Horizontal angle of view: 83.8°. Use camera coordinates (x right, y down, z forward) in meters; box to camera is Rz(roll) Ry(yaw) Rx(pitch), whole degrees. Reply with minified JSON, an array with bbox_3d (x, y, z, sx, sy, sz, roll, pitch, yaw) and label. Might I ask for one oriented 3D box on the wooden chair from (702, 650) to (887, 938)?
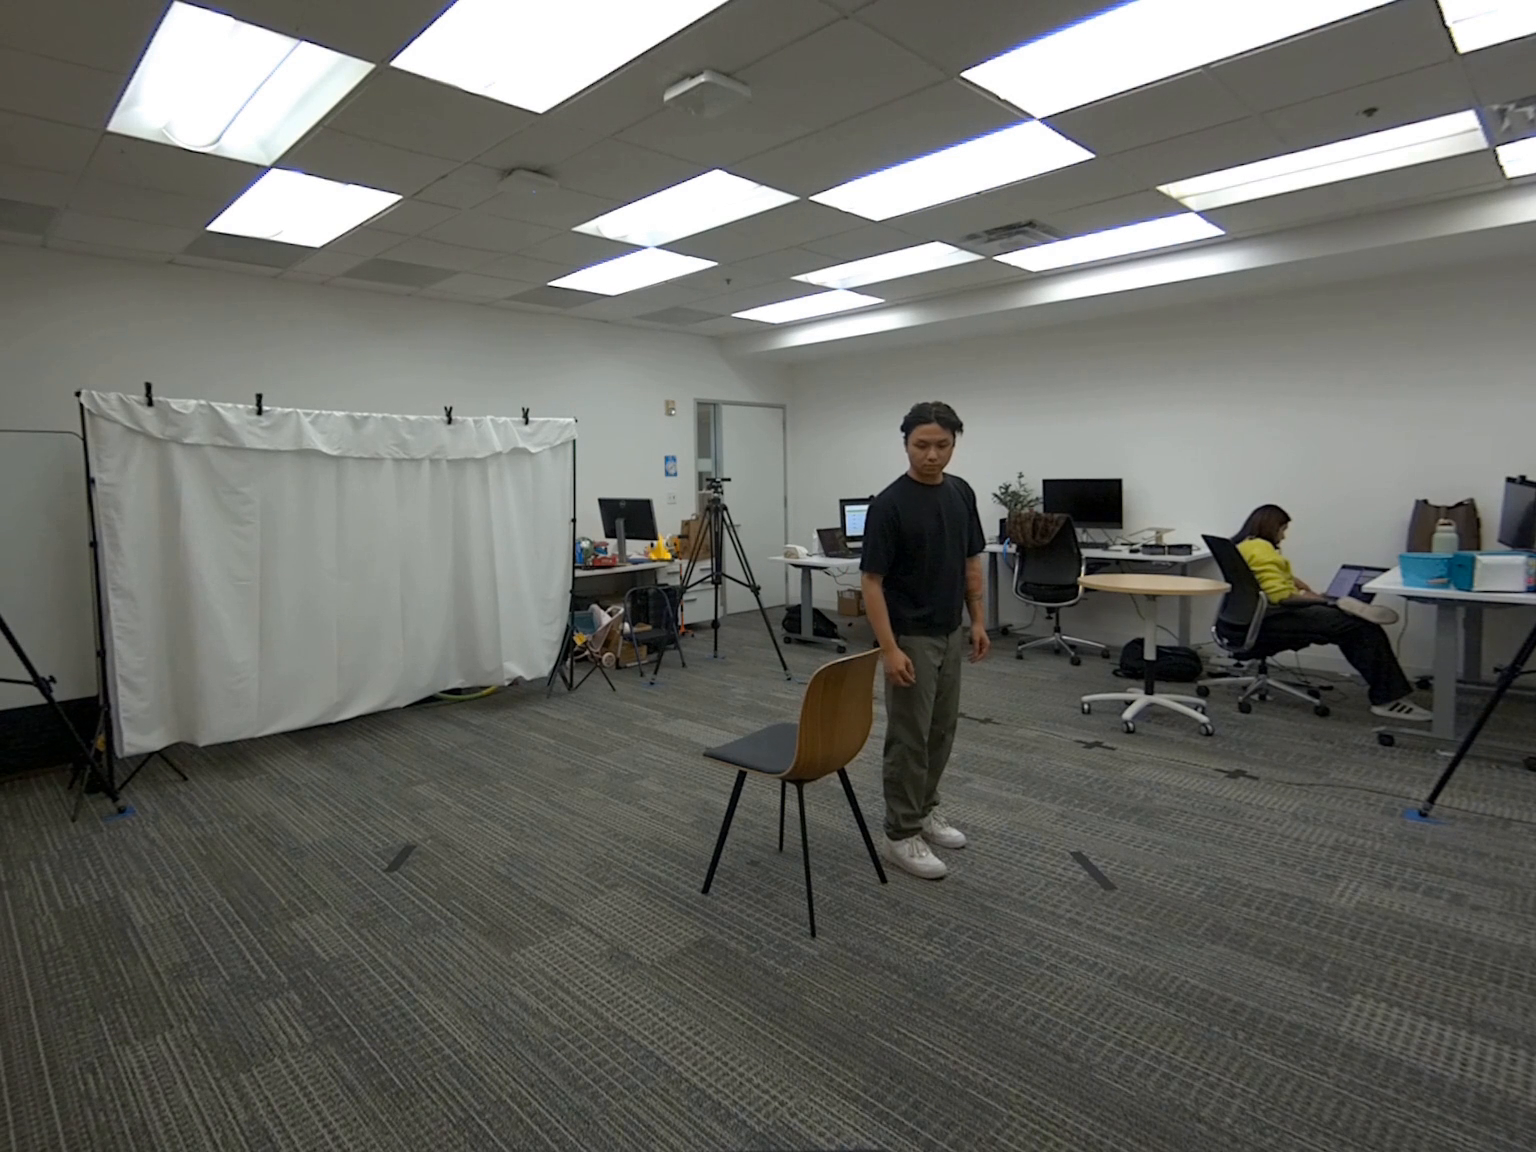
[{"bbox_3d":[0.080,0.639,2.876,0.540,0.872,0.466,8,9,38],"label":"wooden chair"}]
